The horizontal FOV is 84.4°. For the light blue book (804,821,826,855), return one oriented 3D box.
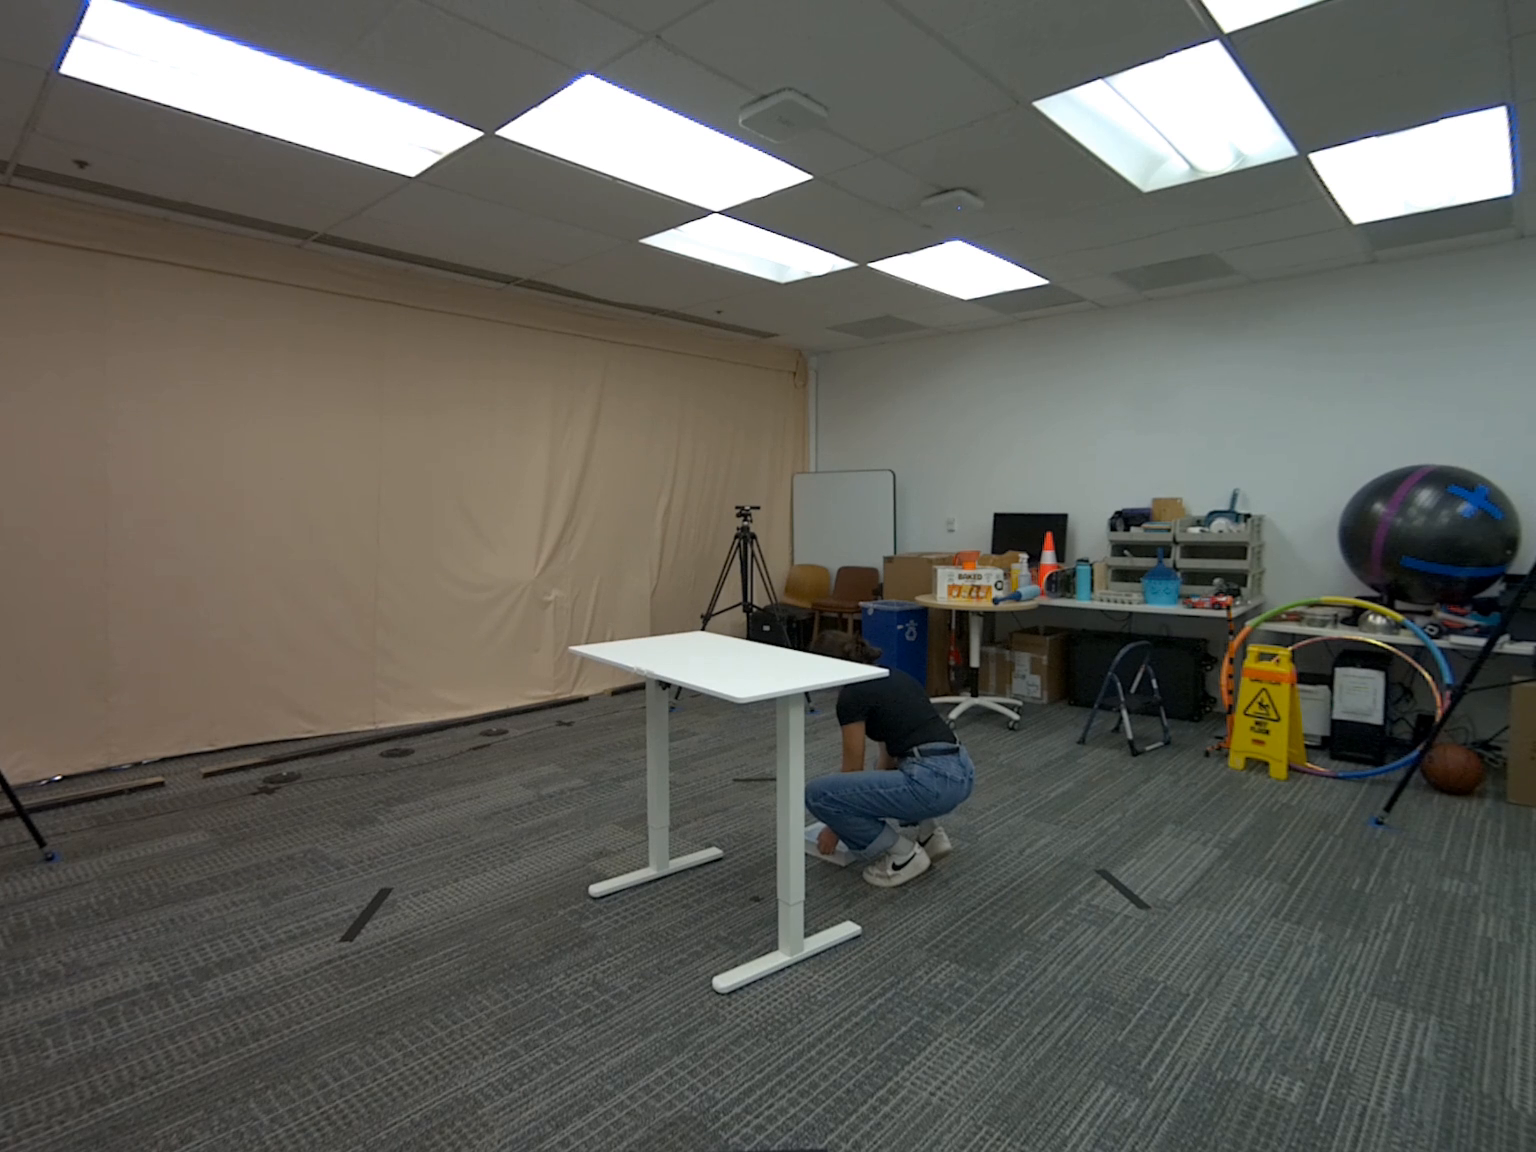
[{"bbox_3d":[0.263,1.085,3.405,0.270,0.059,0.185,4,6,42],"label":"light blue book"}]
